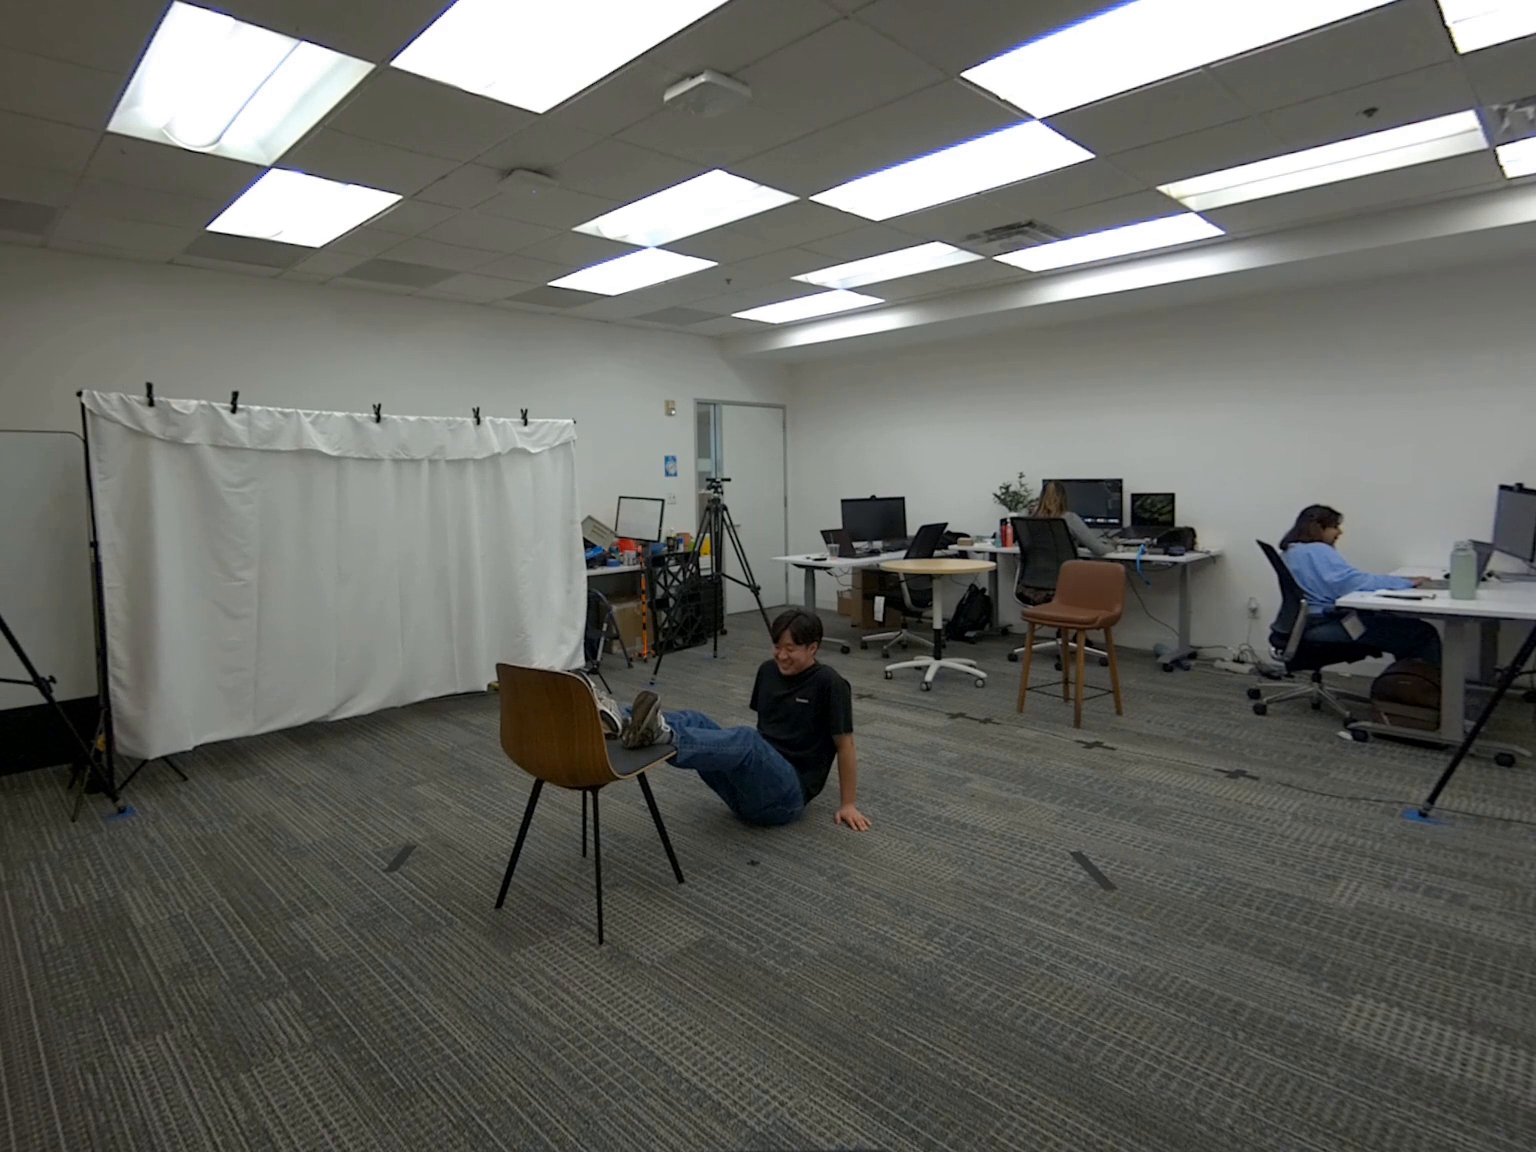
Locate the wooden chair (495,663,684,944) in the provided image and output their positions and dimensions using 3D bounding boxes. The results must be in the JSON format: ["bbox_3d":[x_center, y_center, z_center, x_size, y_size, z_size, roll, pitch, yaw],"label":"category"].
[{"bbox_3d":[-0.593,0.654,2.854,0.491,0.871,0.514,2,9,30],"label":"wooden chair"}]
